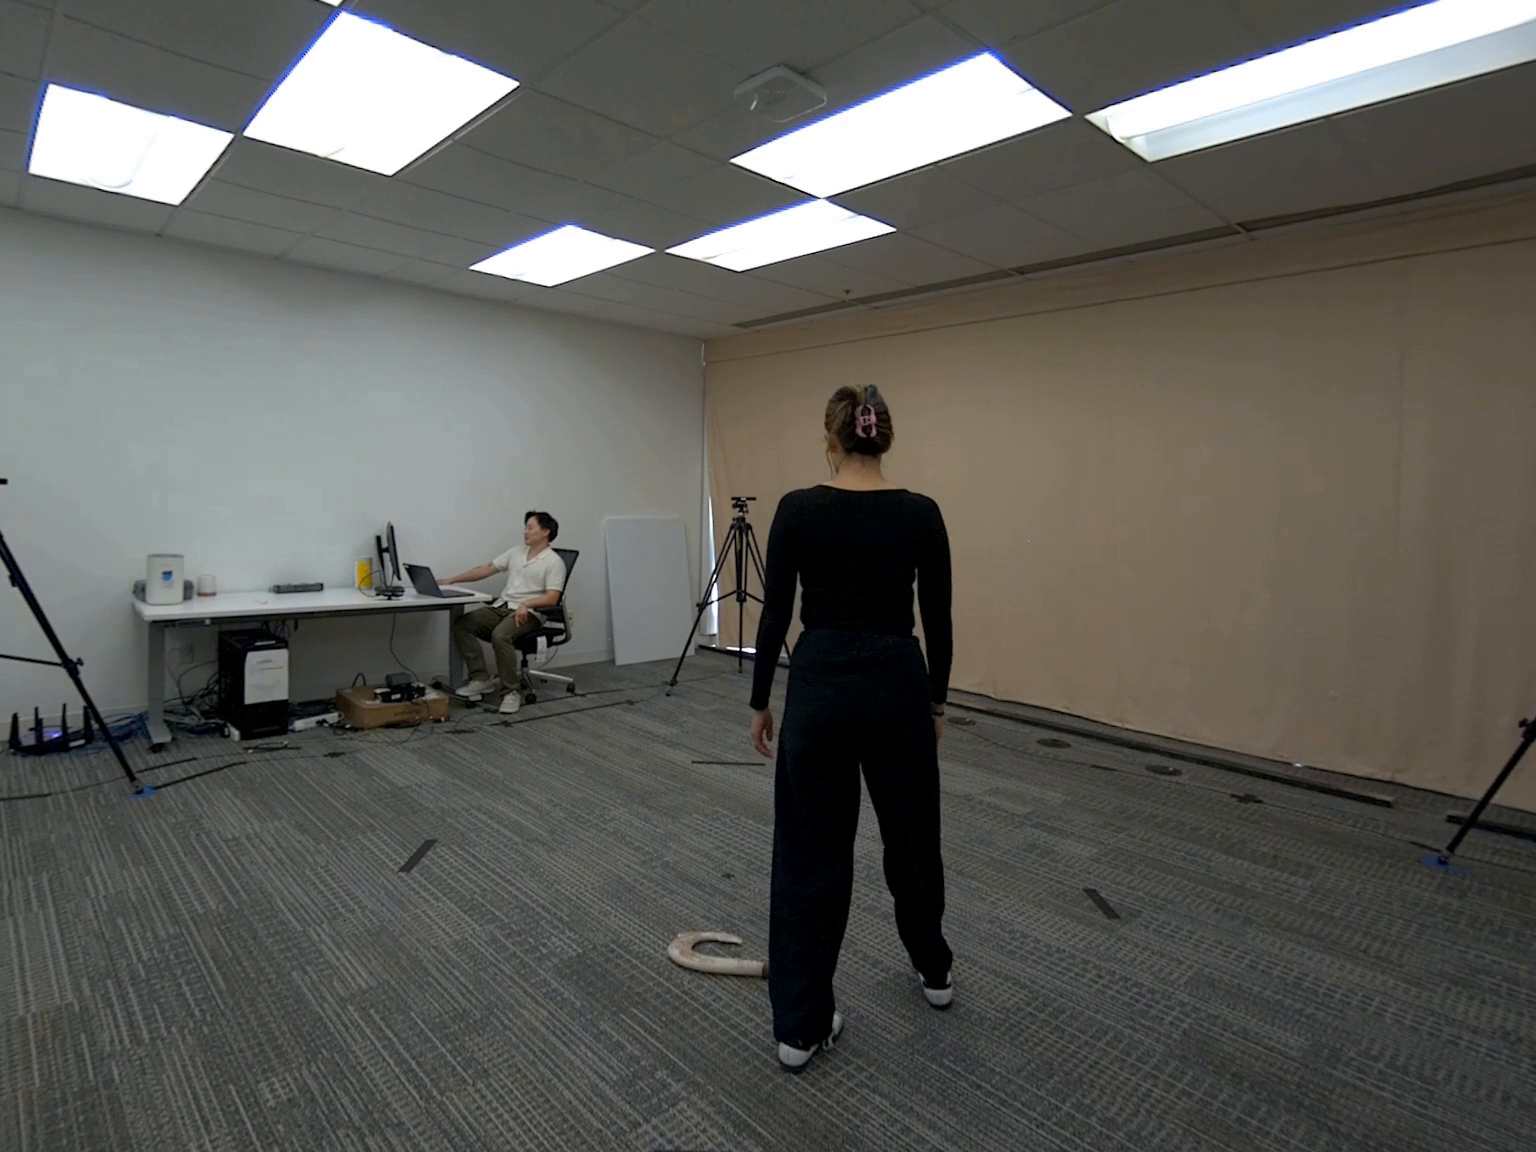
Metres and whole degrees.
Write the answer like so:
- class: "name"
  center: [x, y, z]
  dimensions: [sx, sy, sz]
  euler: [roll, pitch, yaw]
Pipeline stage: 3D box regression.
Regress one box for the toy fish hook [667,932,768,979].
- class: "toy fish hook"
  center: [-0.054, 1.142, 2.514]
  dimensions: [0.514, 0.048, 0.222]
  euler: [4, 7, 19]
